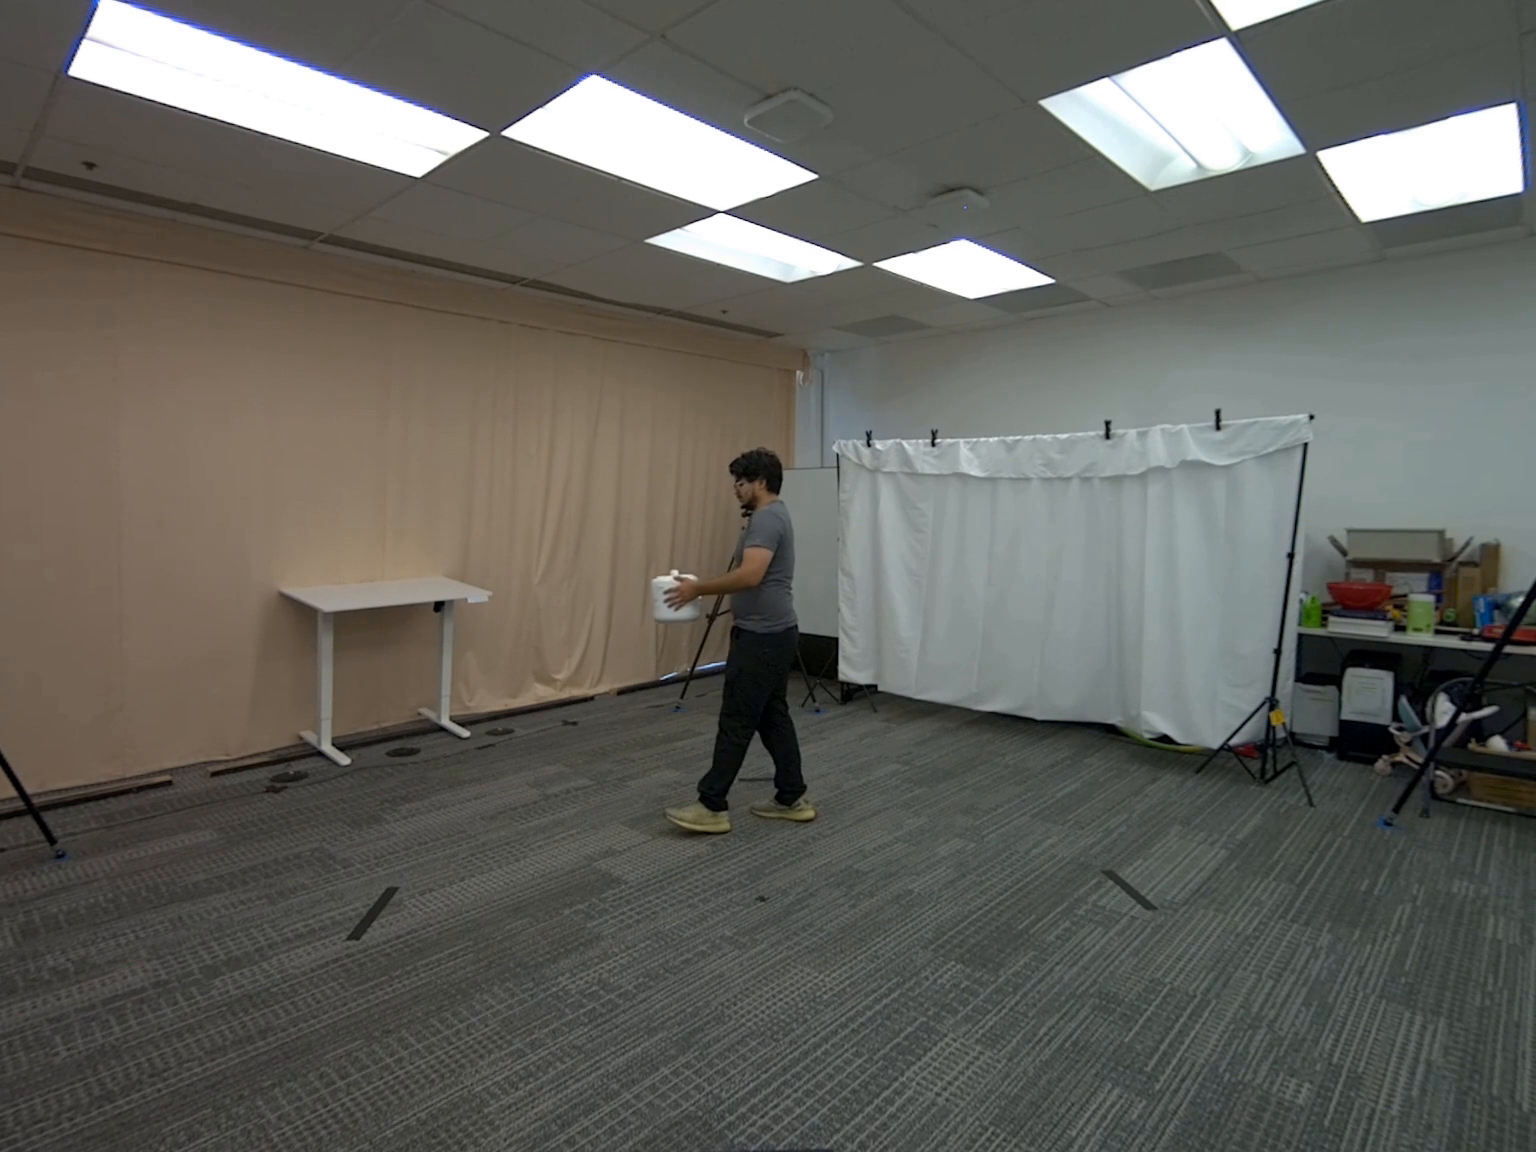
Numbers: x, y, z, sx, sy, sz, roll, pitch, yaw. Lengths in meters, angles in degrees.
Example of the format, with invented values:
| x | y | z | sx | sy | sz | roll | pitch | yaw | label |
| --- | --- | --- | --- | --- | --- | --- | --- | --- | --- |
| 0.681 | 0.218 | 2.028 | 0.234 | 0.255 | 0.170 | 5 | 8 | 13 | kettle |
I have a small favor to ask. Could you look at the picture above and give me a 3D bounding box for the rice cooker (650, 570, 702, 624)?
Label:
| x | y | z | sx | sy | sz | roll | pitch | yaw | label |
| --- | --- | --- | --- | --- | --- | --- | --- | --- | --- |
| -0.409 | 0.091 | 3.715 | 0.215 | 0.233 | 0.223 | -3 | 0 | -12 | rice cooker |
